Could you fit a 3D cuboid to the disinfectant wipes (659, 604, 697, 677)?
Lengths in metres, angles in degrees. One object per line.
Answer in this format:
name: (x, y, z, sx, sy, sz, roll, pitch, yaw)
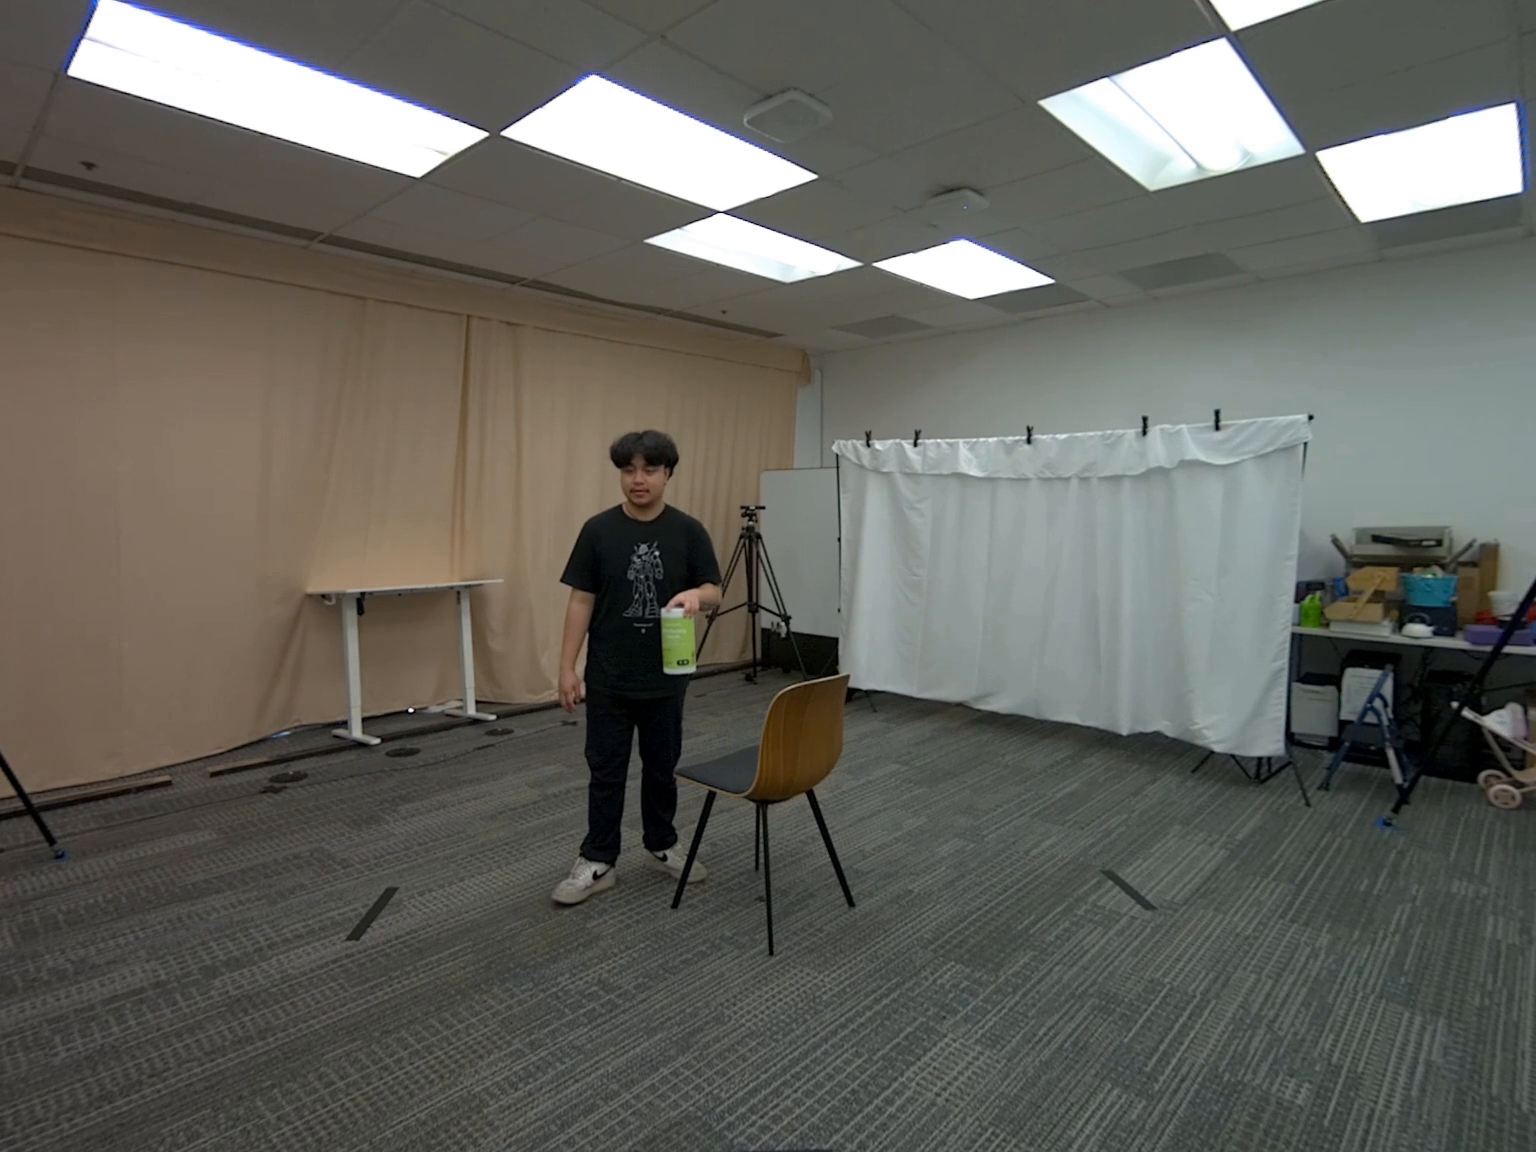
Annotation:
disinfectant wipes: (-0.291, 0.210, 2.795, 0.118, 0.217, 0.118, -1, 1, -2)
